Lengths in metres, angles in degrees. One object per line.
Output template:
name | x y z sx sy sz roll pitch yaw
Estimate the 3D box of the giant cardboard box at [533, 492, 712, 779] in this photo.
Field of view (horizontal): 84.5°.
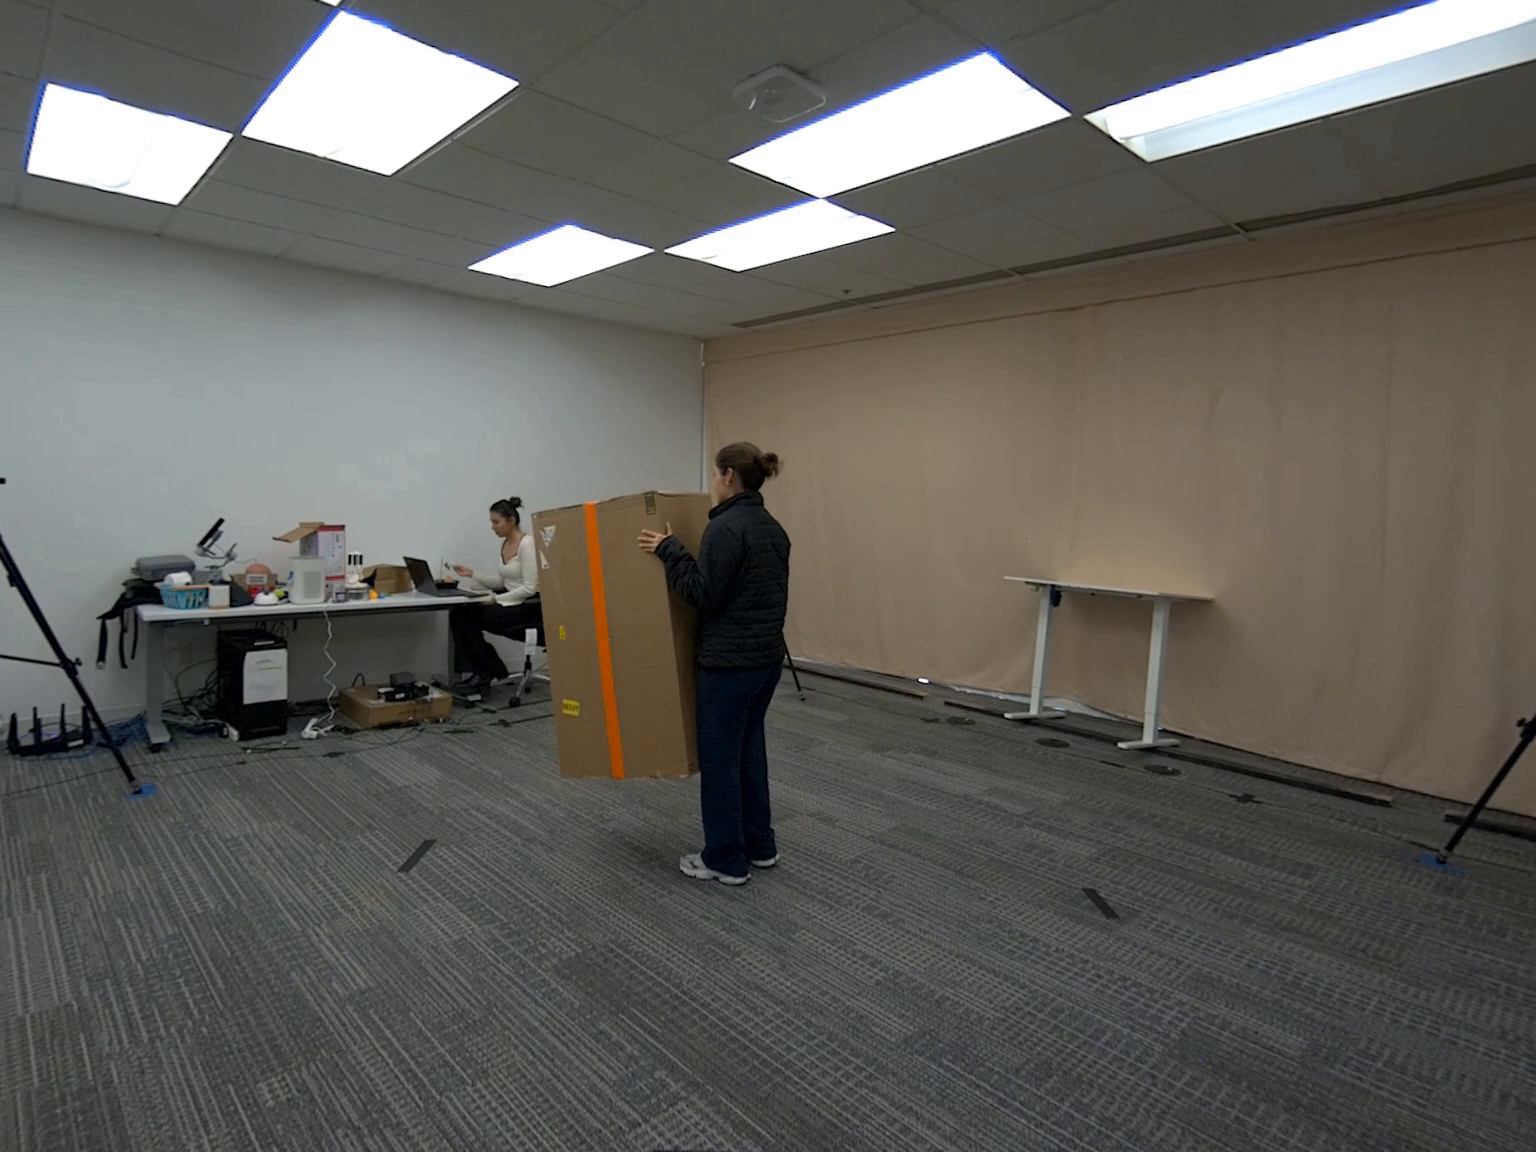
giant cardboard box | -0.515 0.222 3.276 0.587 1.027 0.418 -8 -2 27
